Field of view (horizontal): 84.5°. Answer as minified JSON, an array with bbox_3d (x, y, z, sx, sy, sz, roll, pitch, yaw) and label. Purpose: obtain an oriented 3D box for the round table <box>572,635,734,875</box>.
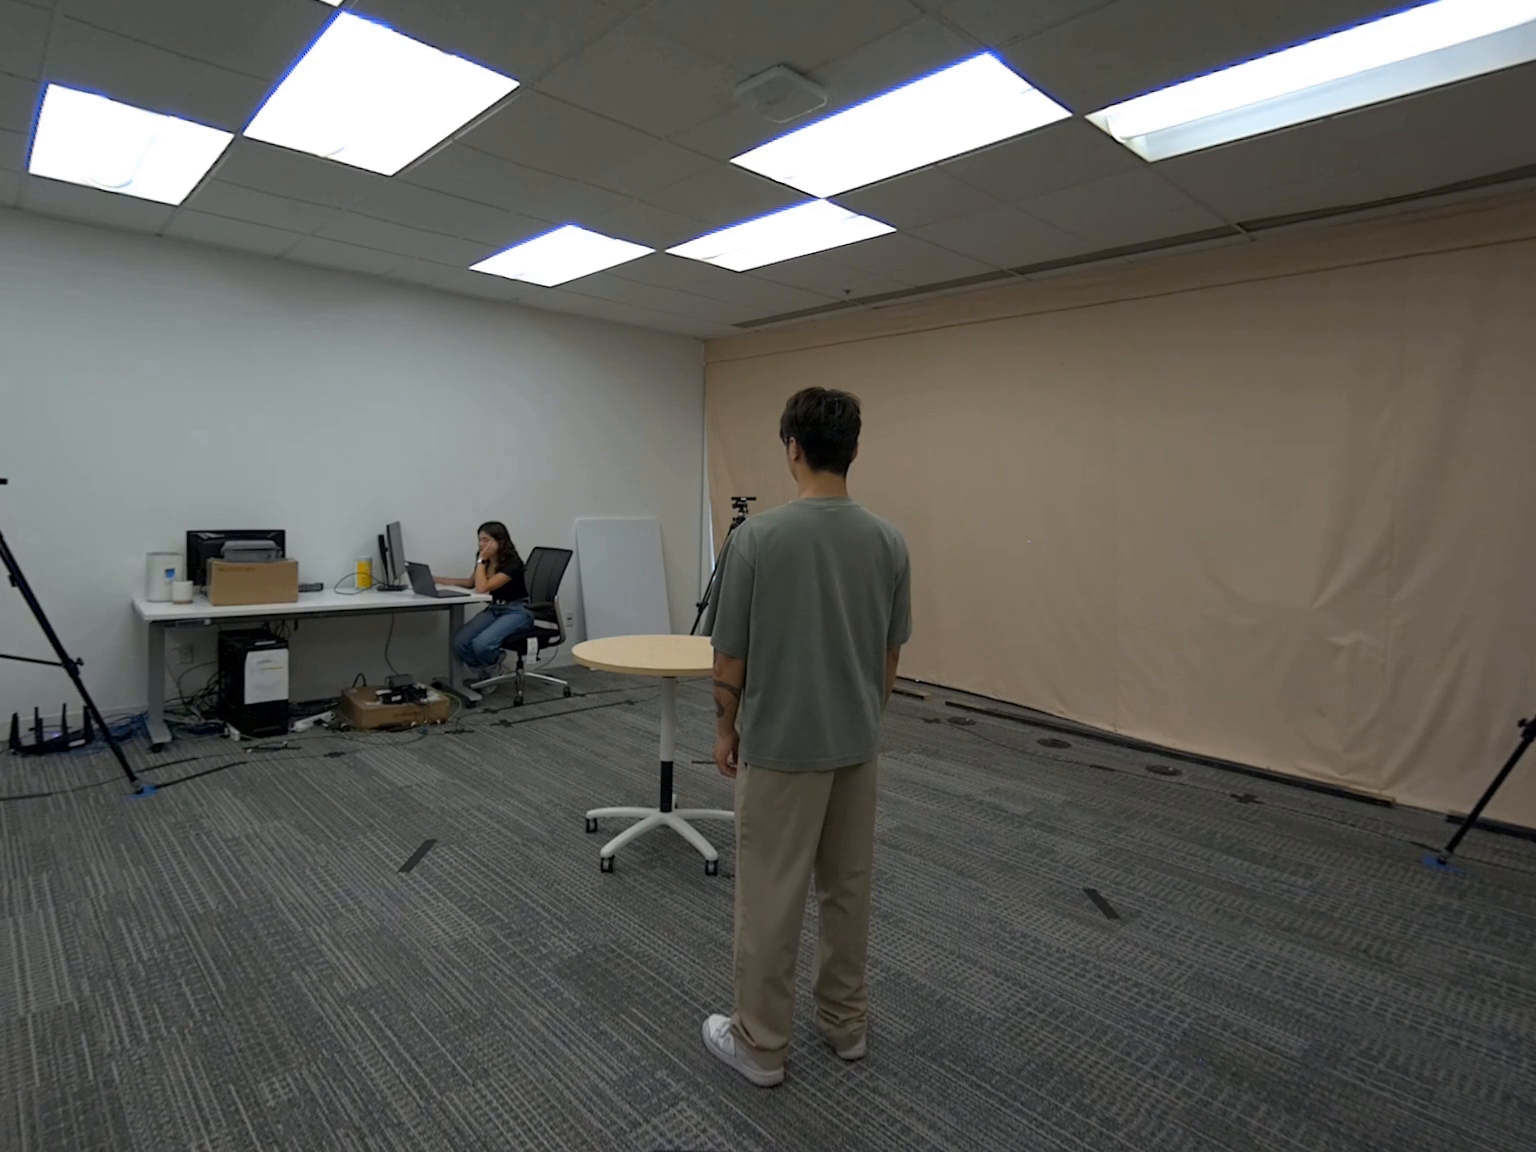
[{"bbox_3d":[-0.421,0.684,3.341,0.784,0.785,0.787,1,3,-1],"label":"round table"}]
